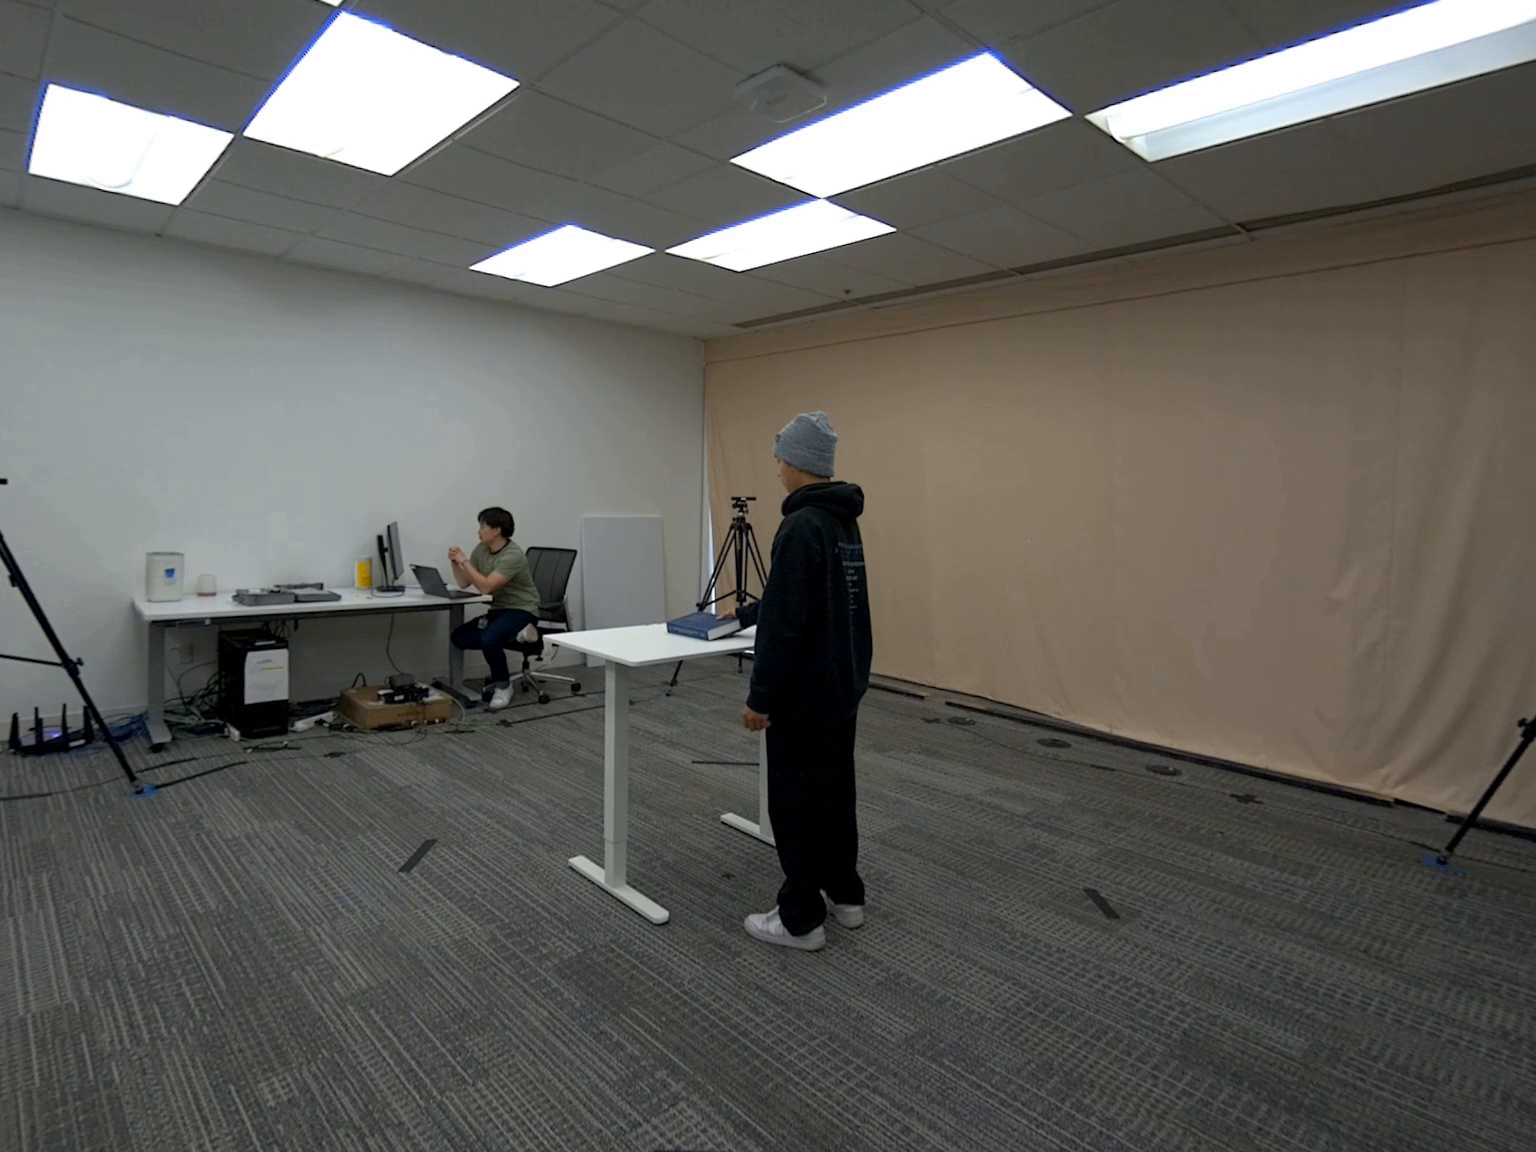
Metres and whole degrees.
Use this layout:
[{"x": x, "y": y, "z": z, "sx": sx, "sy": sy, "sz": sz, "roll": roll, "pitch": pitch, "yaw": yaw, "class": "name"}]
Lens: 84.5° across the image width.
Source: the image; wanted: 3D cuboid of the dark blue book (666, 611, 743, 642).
[{"x": -0.247, "y": 0.187, "z": 3.127, "sx": 0.160, "sy": 0.045, "sz": 0.251, "roll": -16, "pitch": 15, "yaw": -39, "class": "dark blue book"}]
